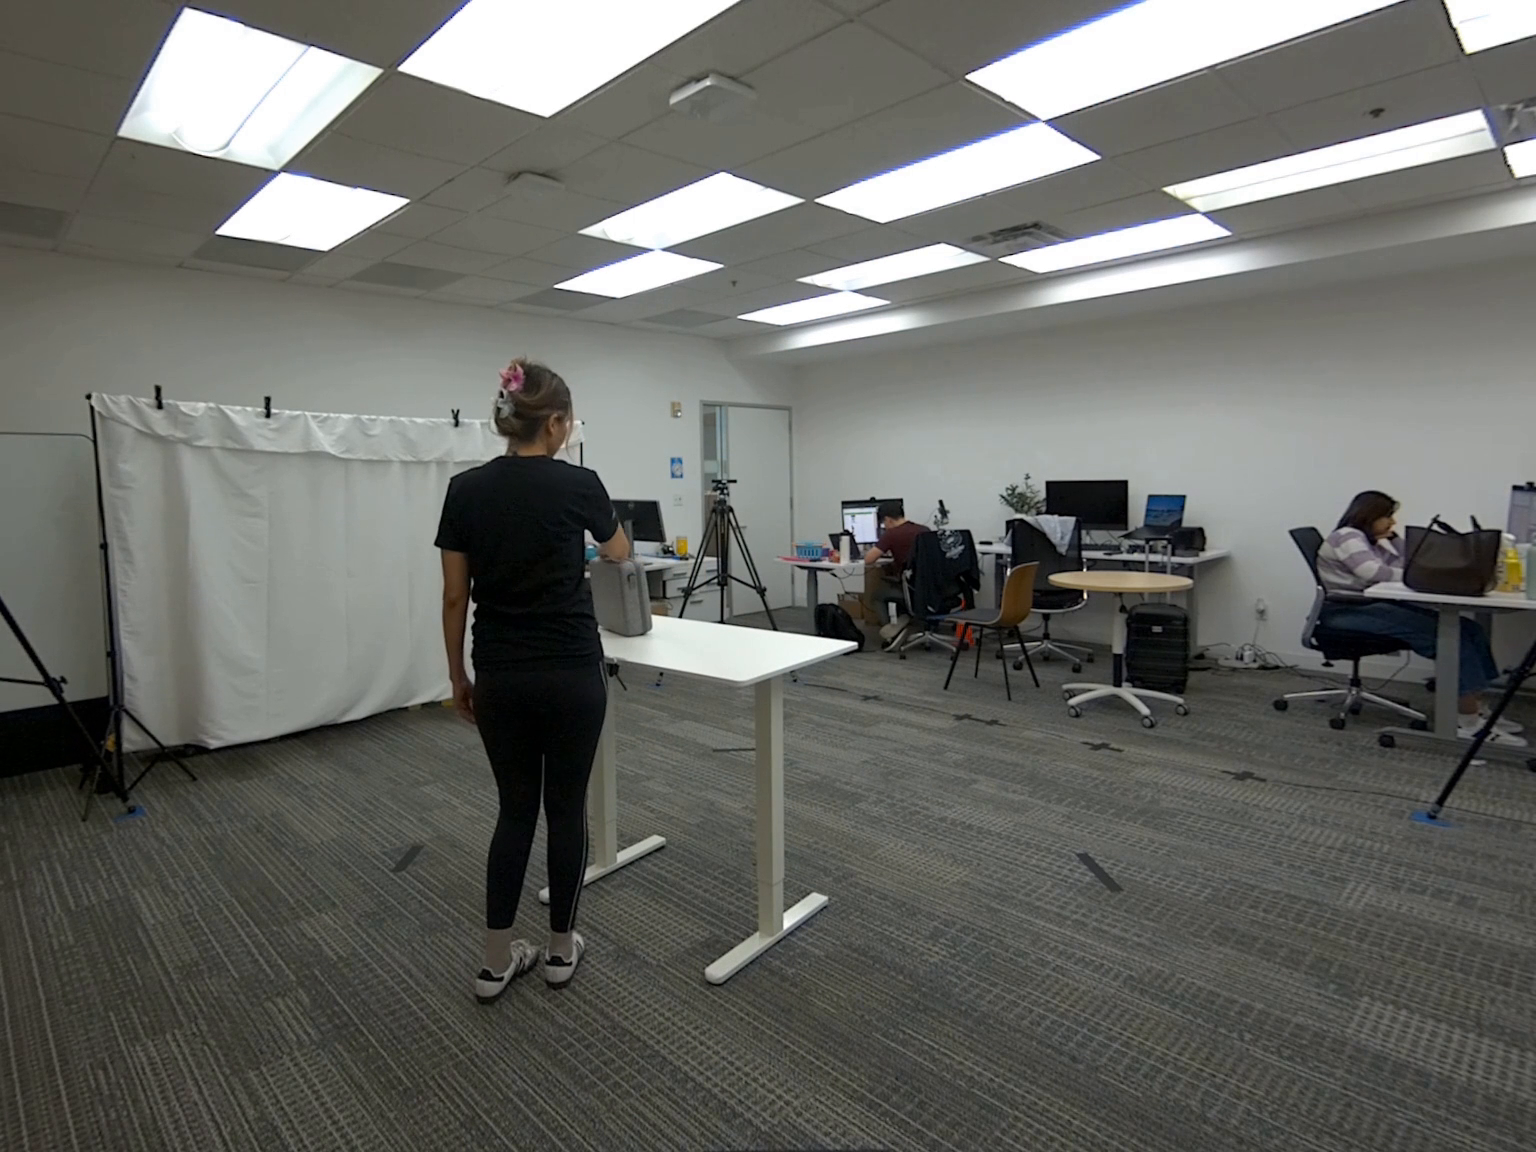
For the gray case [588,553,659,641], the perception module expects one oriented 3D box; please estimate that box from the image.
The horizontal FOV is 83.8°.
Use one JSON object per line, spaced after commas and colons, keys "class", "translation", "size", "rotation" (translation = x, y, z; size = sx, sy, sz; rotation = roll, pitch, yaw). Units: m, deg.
{"class": "gray case", "translation": [-0.496, 0.058, 2.921], "size": [0.102, 0.258, 0.265], "rotation": [-12, 12, -34]}
